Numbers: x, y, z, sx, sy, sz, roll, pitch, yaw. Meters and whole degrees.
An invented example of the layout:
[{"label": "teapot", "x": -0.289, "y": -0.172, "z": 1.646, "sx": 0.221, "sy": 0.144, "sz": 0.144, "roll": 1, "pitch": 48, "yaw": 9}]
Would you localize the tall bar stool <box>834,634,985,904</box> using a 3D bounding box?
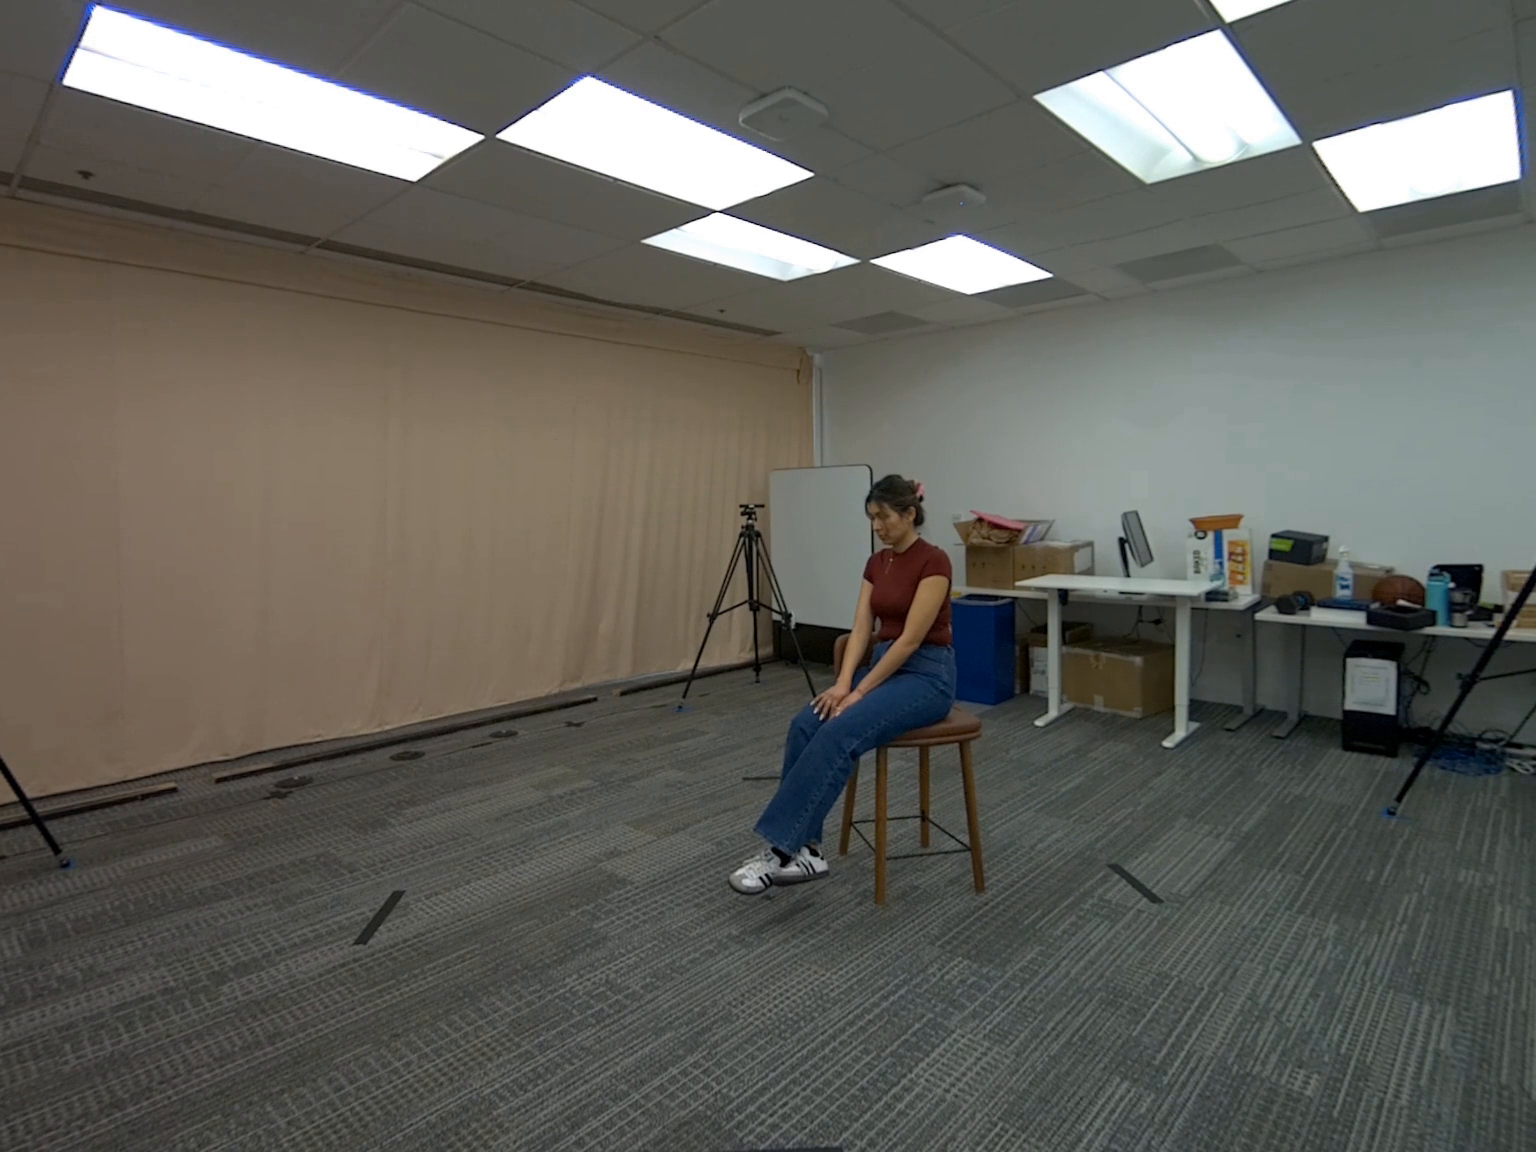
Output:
[{"label": "tall bar stool", "x": 0.523, "y": 0.684, "z": 3.160, "sx": 0.450, "sy": 0.889, "sz": 0.475, "roll": -1, "pitch": 2, "yaw": -14}]
